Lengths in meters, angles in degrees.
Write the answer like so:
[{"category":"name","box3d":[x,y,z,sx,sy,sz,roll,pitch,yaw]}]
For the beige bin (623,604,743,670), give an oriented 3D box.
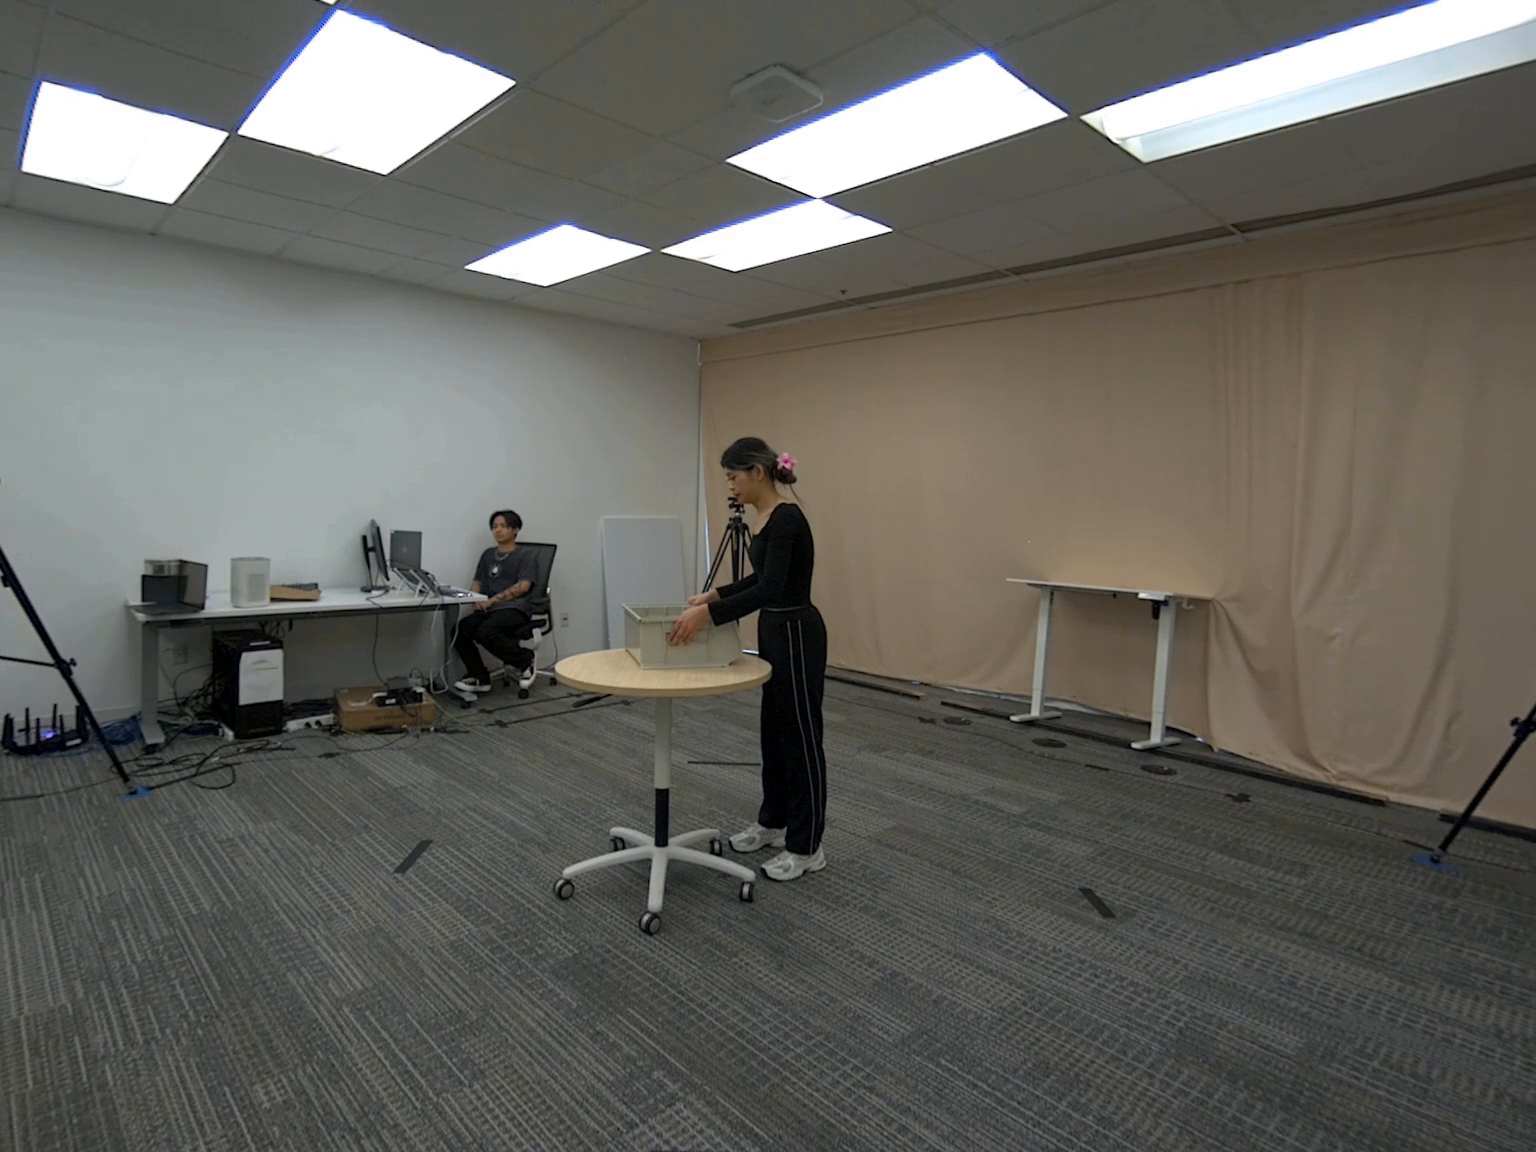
[{"category":"beige bin","box3d":[-0.335,0.210,3.144,0.373,0.188,0.429,-3,6,-16]}]
